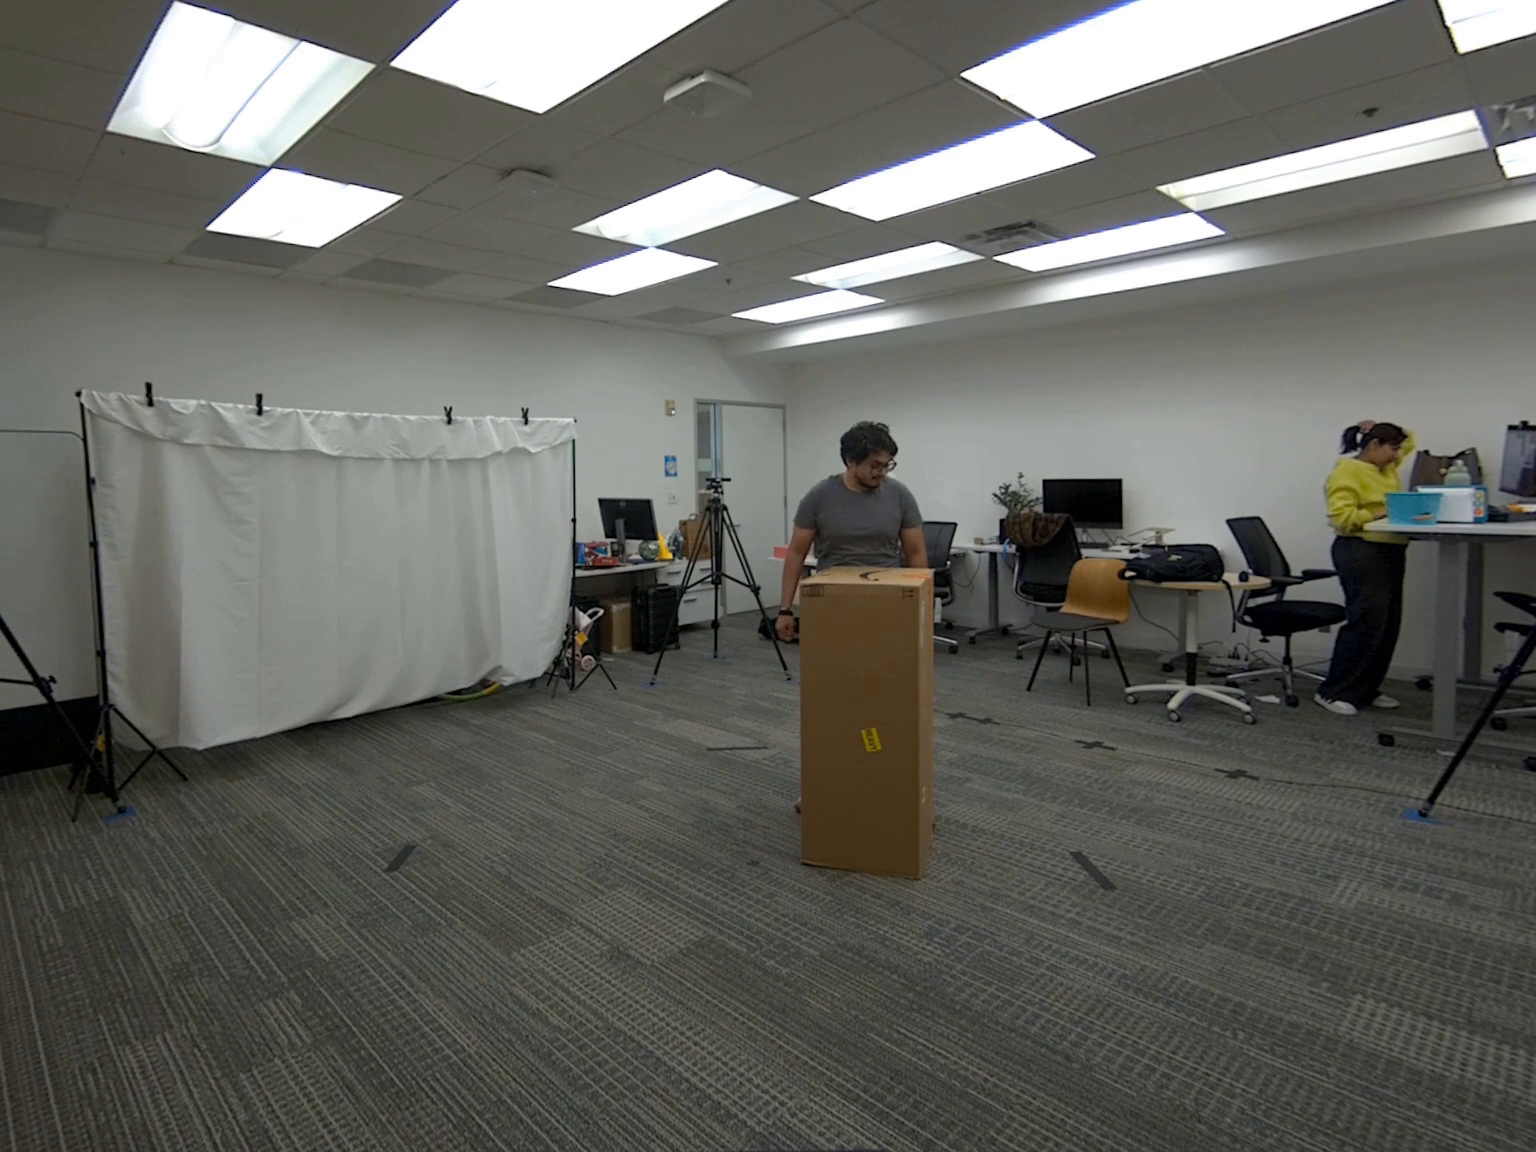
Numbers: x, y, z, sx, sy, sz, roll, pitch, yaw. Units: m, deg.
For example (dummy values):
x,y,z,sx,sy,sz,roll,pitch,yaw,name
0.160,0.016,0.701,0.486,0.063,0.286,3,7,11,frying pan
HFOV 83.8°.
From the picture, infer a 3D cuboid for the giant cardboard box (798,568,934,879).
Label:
x,y,z,sx,sy,sz,roll,pitch,yaw,name
0.395,0.513,3.251,0.454,1.024,0.576,0,4,17,giant cardboard box
